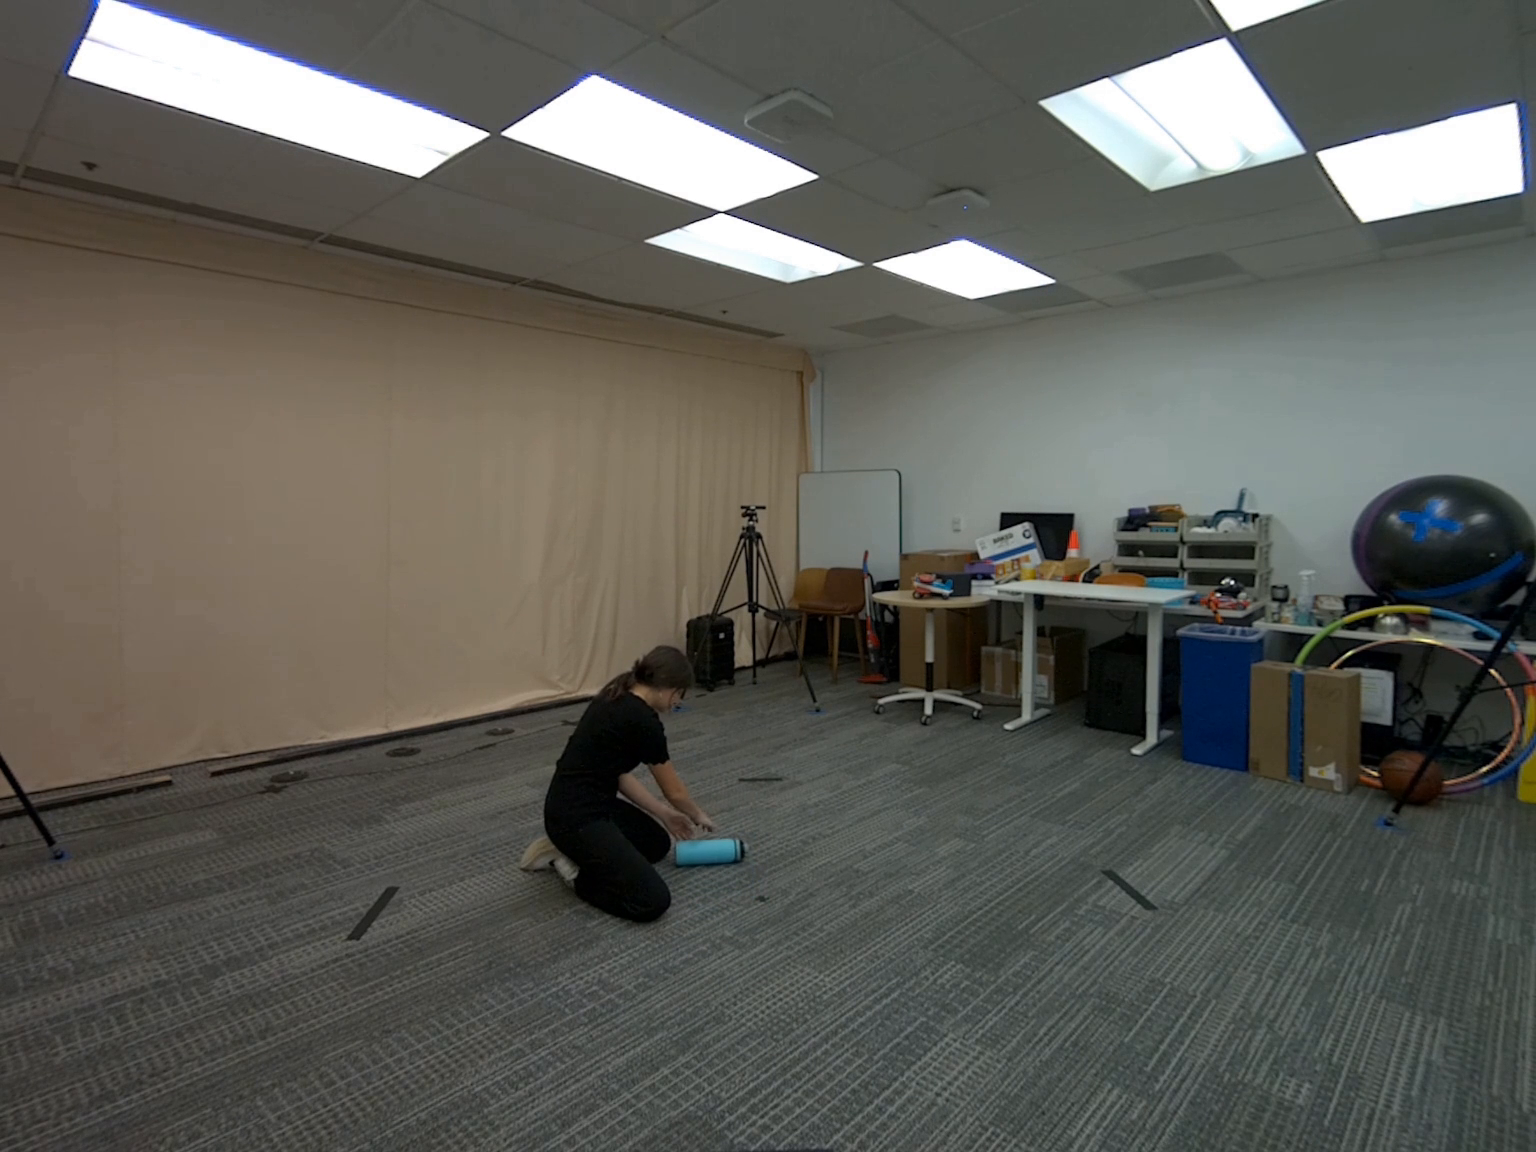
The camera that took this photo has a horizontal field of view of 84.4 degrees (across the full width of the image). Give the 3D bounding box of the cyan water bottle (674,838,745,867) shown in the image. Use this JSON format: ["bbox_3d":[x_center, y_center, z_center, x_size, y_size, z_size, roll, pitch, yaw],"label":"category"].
[{"bbox_3d":[-0.217,1.075,3.271,0.281,0.092,0.093,-2,4,-7],"label":"cyan water bottle"}]
